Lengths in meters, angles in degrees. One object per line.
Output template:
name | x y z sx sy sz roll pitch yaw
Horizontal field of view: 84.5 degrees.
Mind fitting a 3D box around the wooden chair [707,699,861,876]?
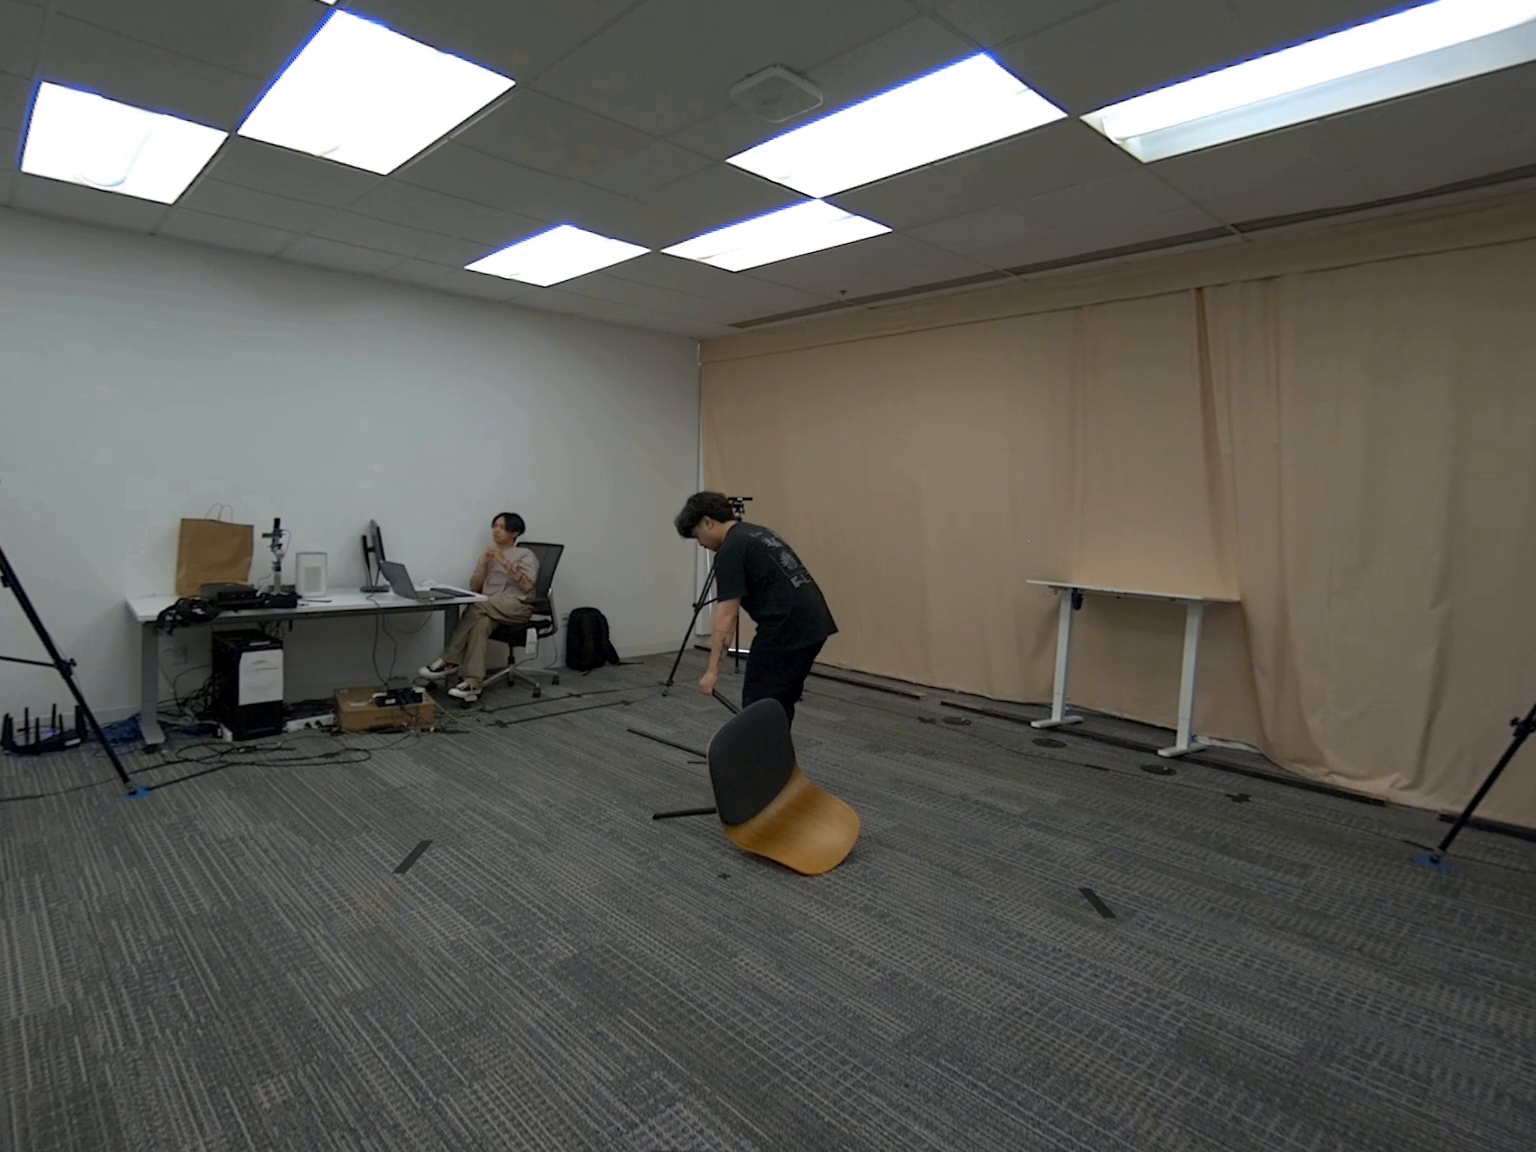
wooden chair | -0.091 0.794 3.422 0.901 0.514 0.473 11 29 40
